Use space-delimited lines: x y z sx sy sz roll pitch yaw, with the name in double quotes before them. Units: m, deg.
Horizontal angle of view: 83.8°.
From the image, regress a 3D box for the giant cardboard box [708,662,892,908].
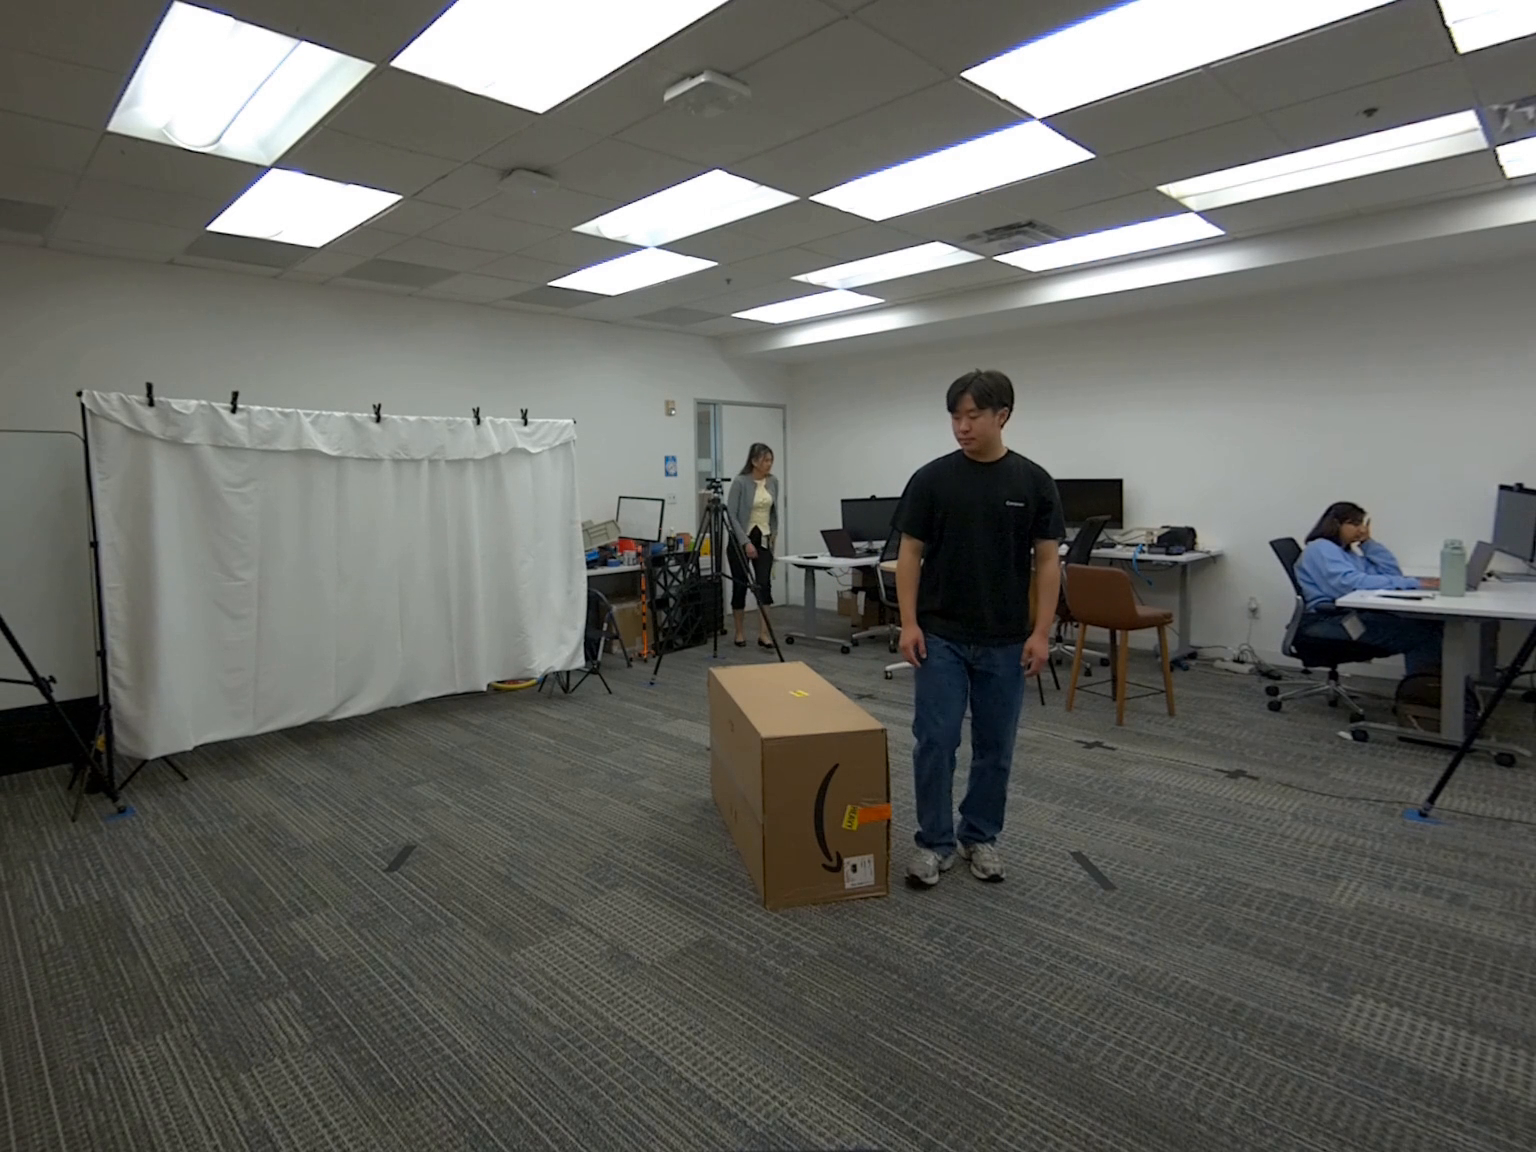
"giant cardboard box" 0.073 0.731 3.284 0.441 0.581 1.044 -1 6 -14
